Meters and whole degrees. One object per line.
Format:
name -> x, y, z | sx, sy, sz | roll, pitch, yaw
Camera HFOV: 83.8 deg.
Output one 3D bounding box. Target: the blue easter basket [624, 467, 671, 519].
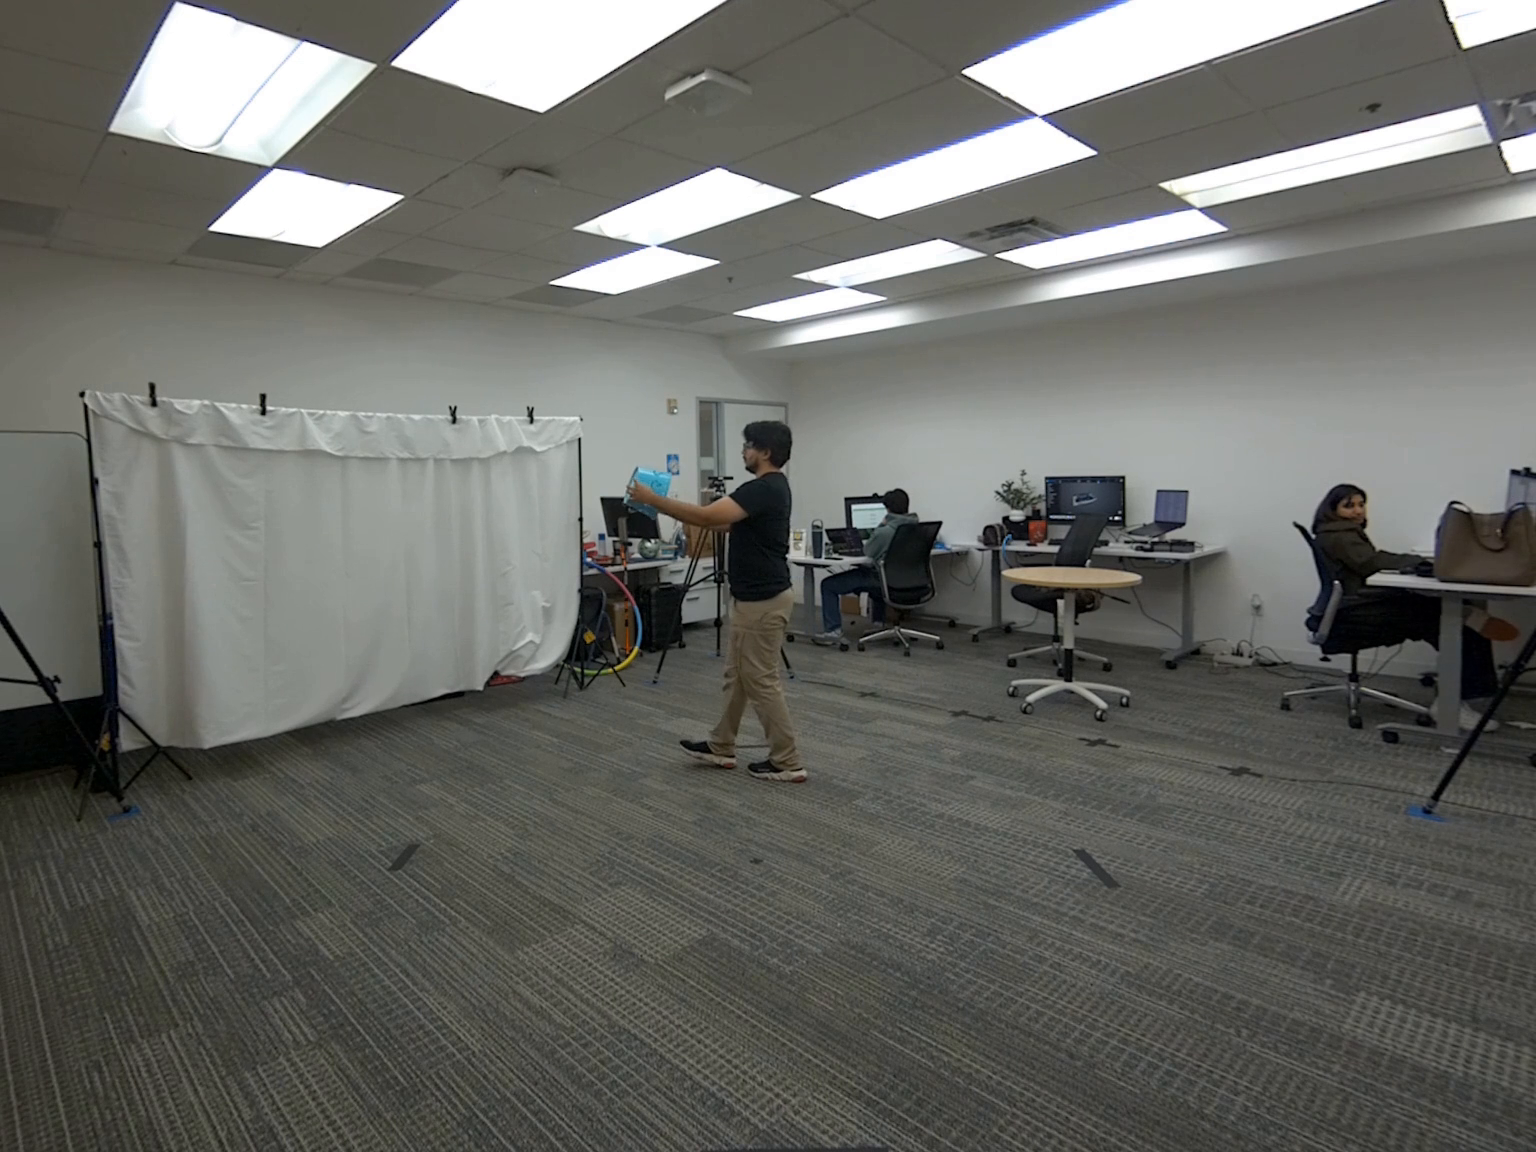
blue easter basket -> -0.568, -0.403, 3.982 | 0.153, 0.244, 0.248 | 17, -1, -19
